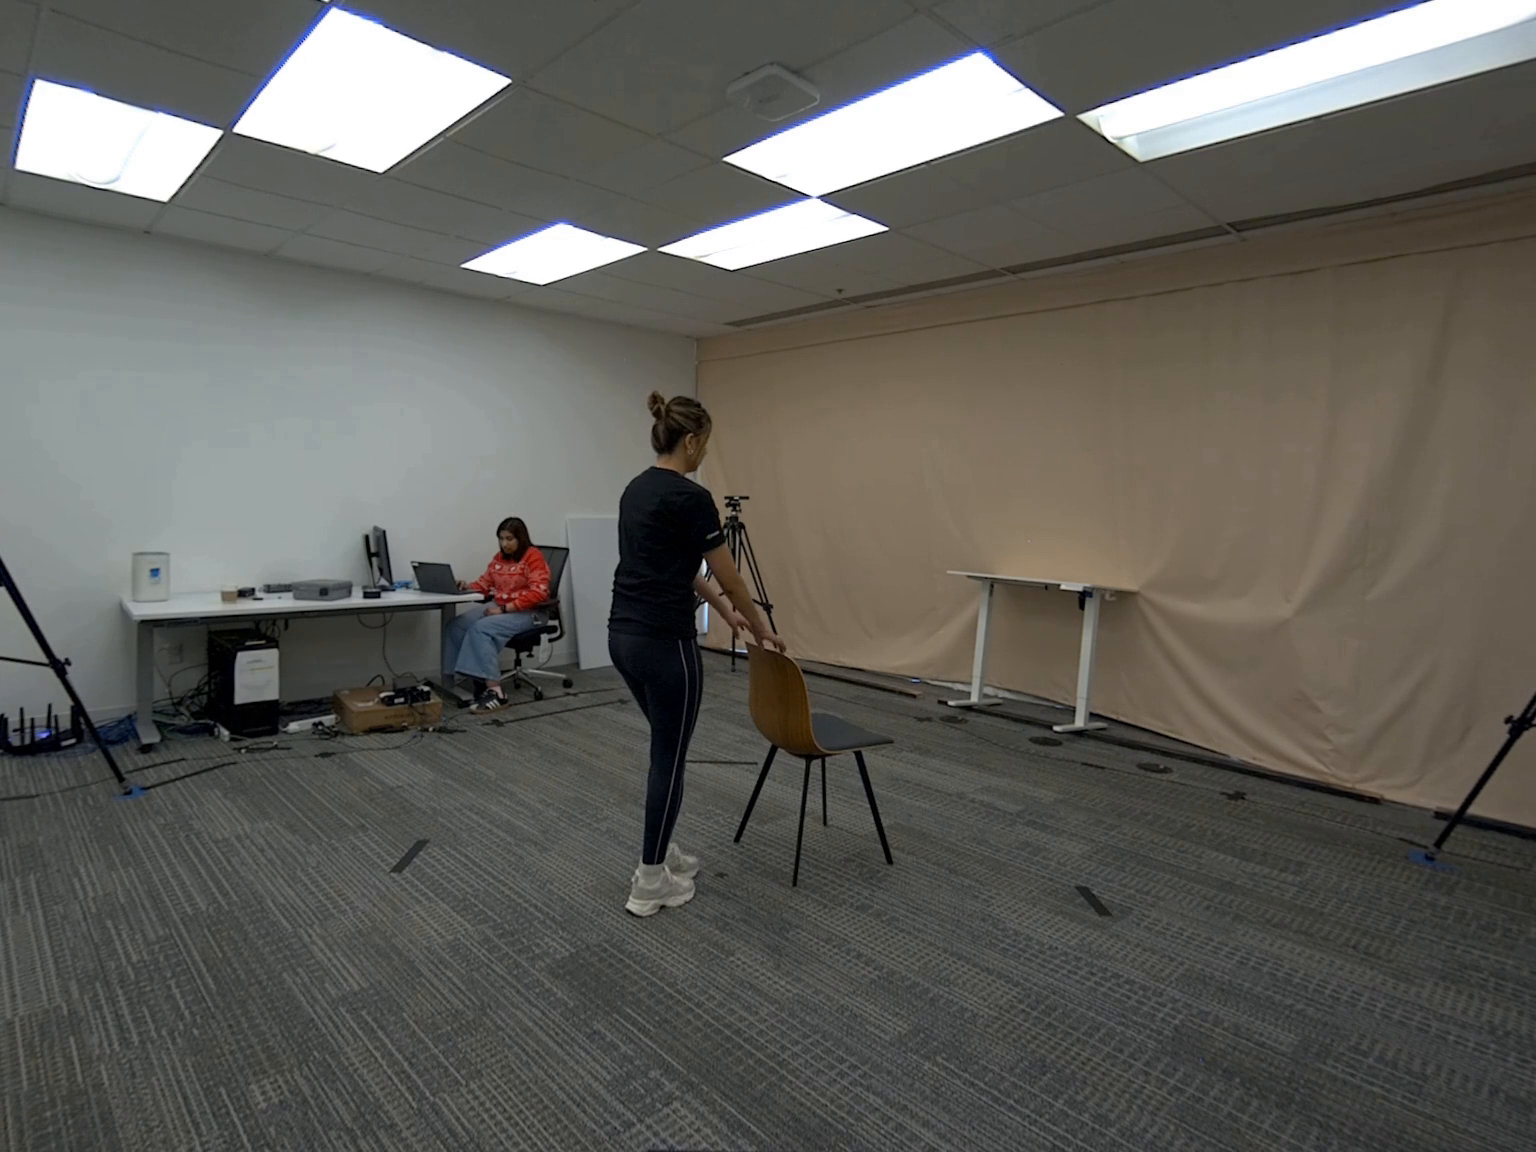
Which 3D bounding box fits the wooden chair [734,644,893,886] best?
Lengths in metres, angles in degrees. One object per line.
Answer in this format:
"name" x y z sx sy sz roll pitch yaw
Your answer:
"wooden chair" 0.184 0.668 3.296 0.513 0.874 0.489 -5 6 -29
